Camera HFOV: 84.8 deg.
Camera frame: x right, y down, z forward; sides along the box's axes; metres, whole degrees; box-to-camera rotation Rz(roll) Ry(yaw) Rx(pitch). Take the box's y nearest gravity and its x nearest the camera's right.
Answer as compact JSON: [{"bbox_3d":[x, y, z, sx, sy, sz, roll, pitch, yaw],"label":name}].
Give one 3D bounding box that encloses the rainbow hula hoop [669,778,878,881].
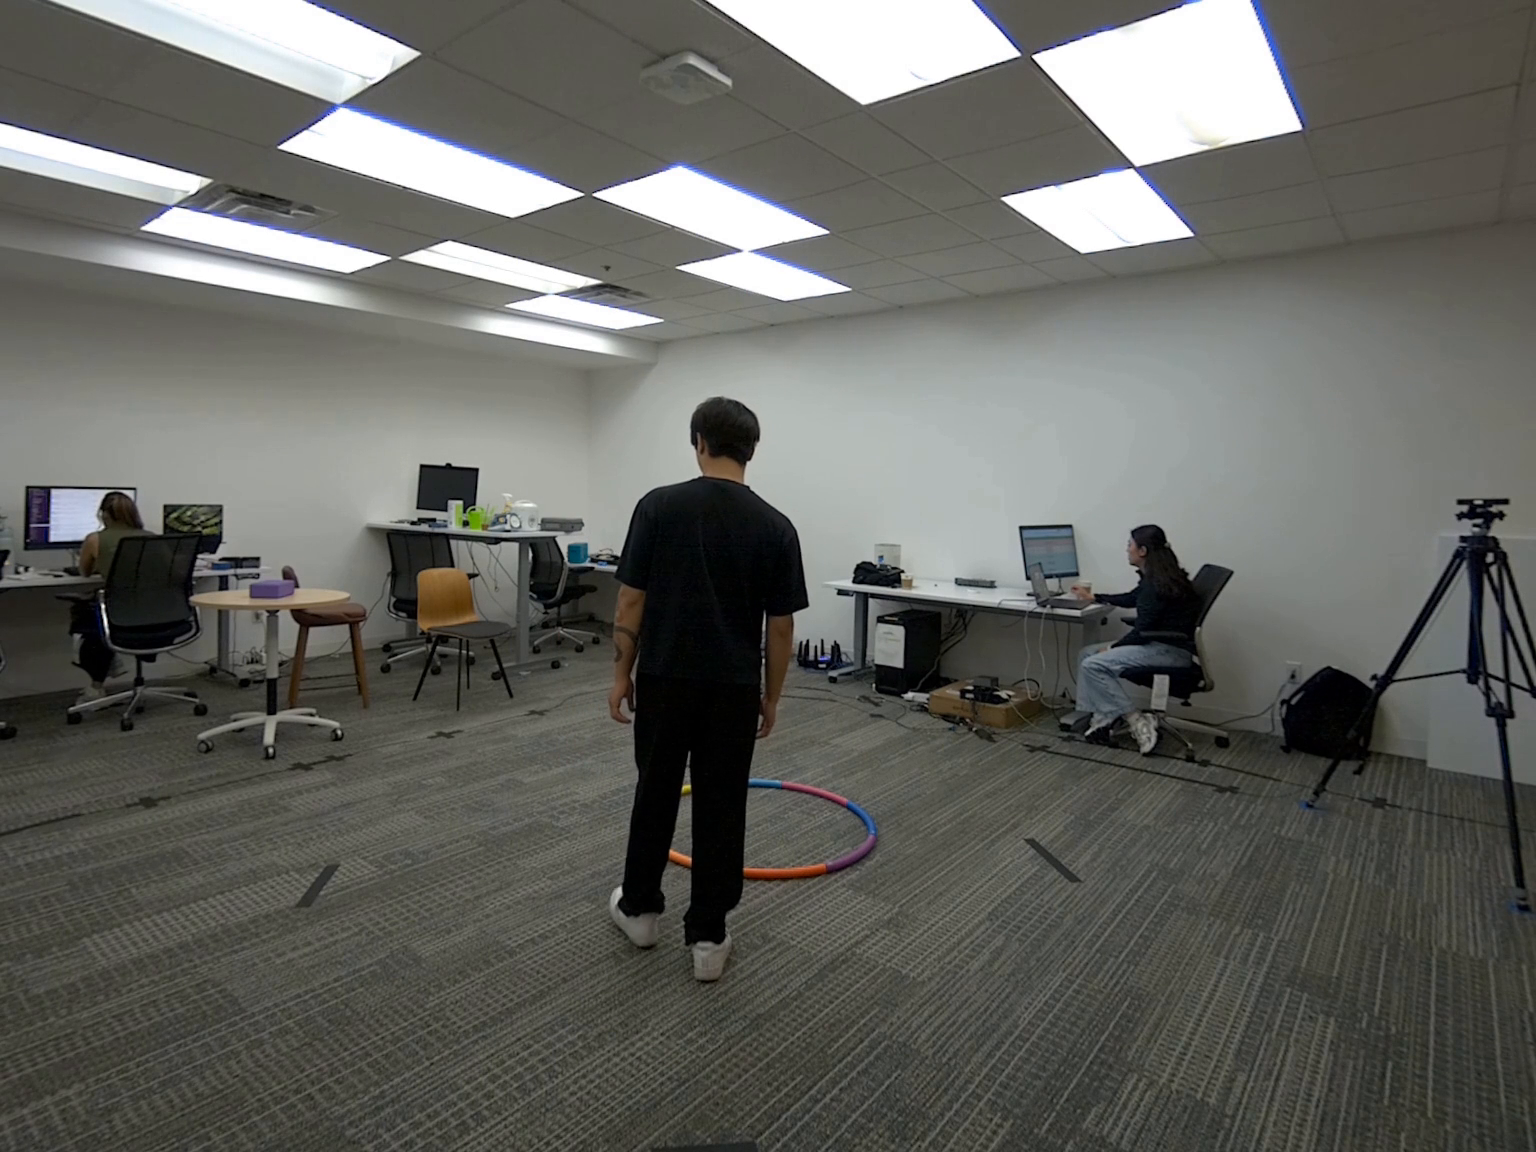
[{"bbox_3d":[-0.059,1.003,3.512,0.978,0.035,0.984,1,6,-2],"label":"rainbow hula hoop"}]
